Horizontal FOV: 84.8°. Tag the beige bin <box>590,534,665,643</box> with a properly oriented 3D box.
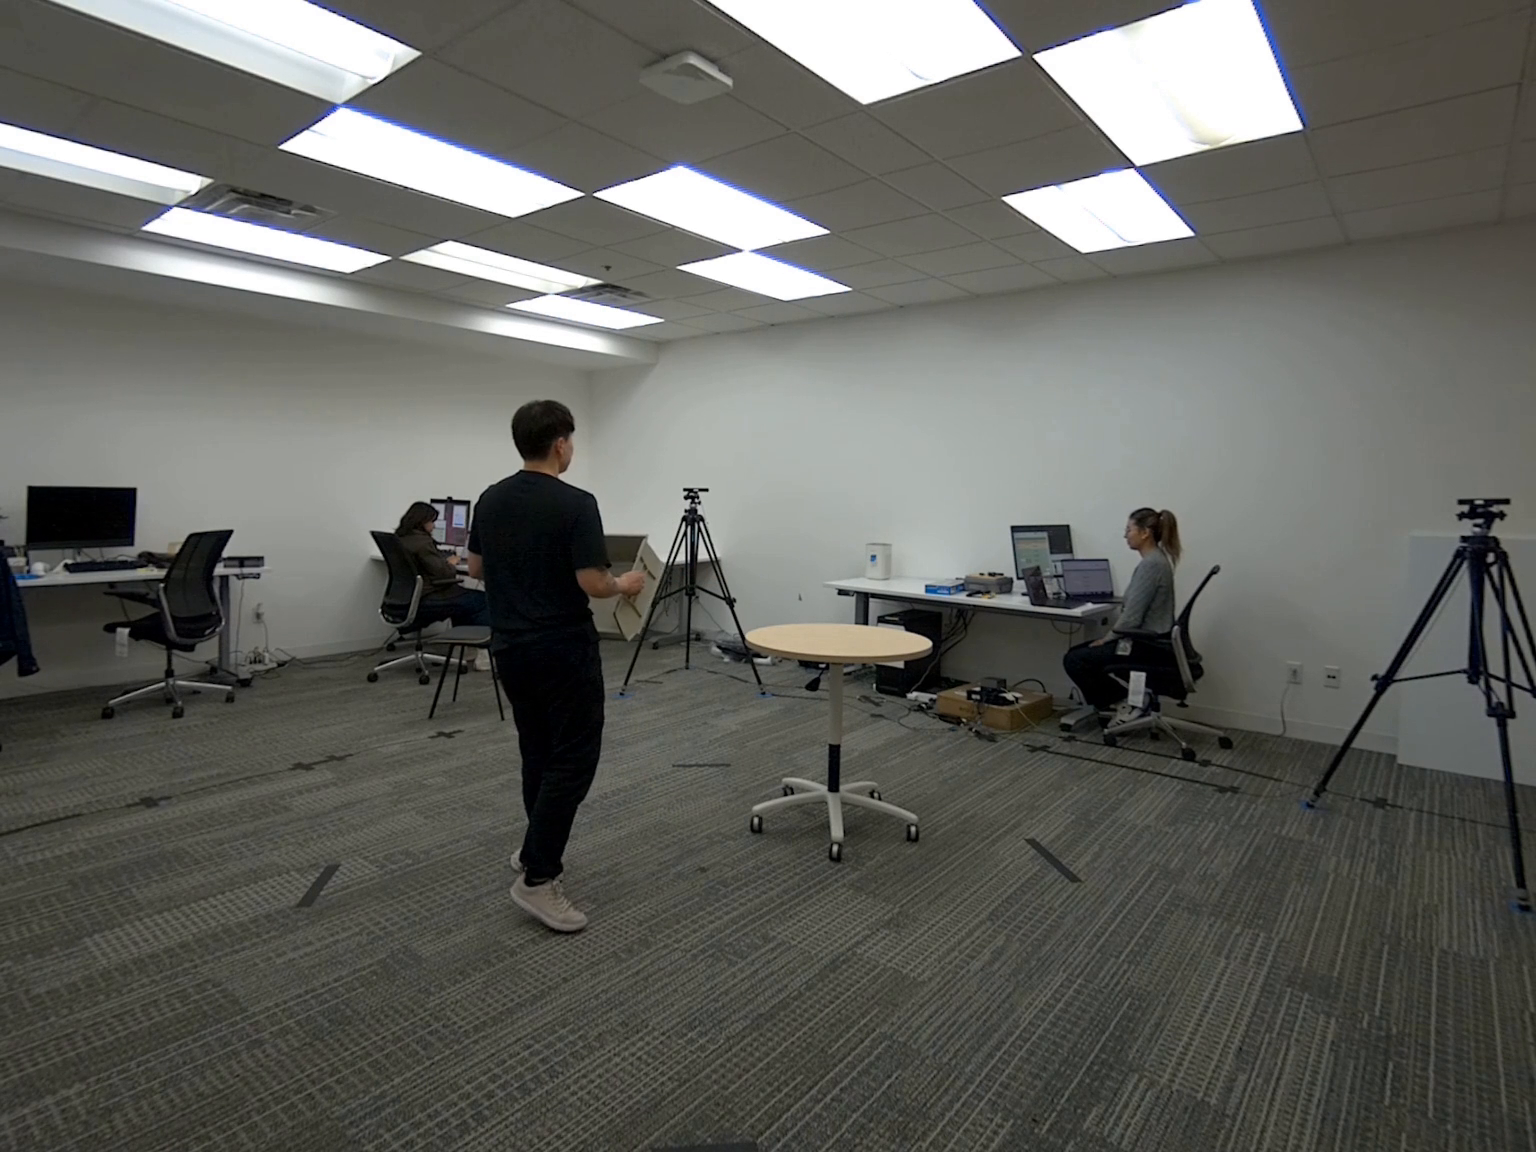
[{"bbox_3d":[-0.661,0.046,3.201,0.434,0.383,0.181,1,-36,28],"label":"beige bin"}]
